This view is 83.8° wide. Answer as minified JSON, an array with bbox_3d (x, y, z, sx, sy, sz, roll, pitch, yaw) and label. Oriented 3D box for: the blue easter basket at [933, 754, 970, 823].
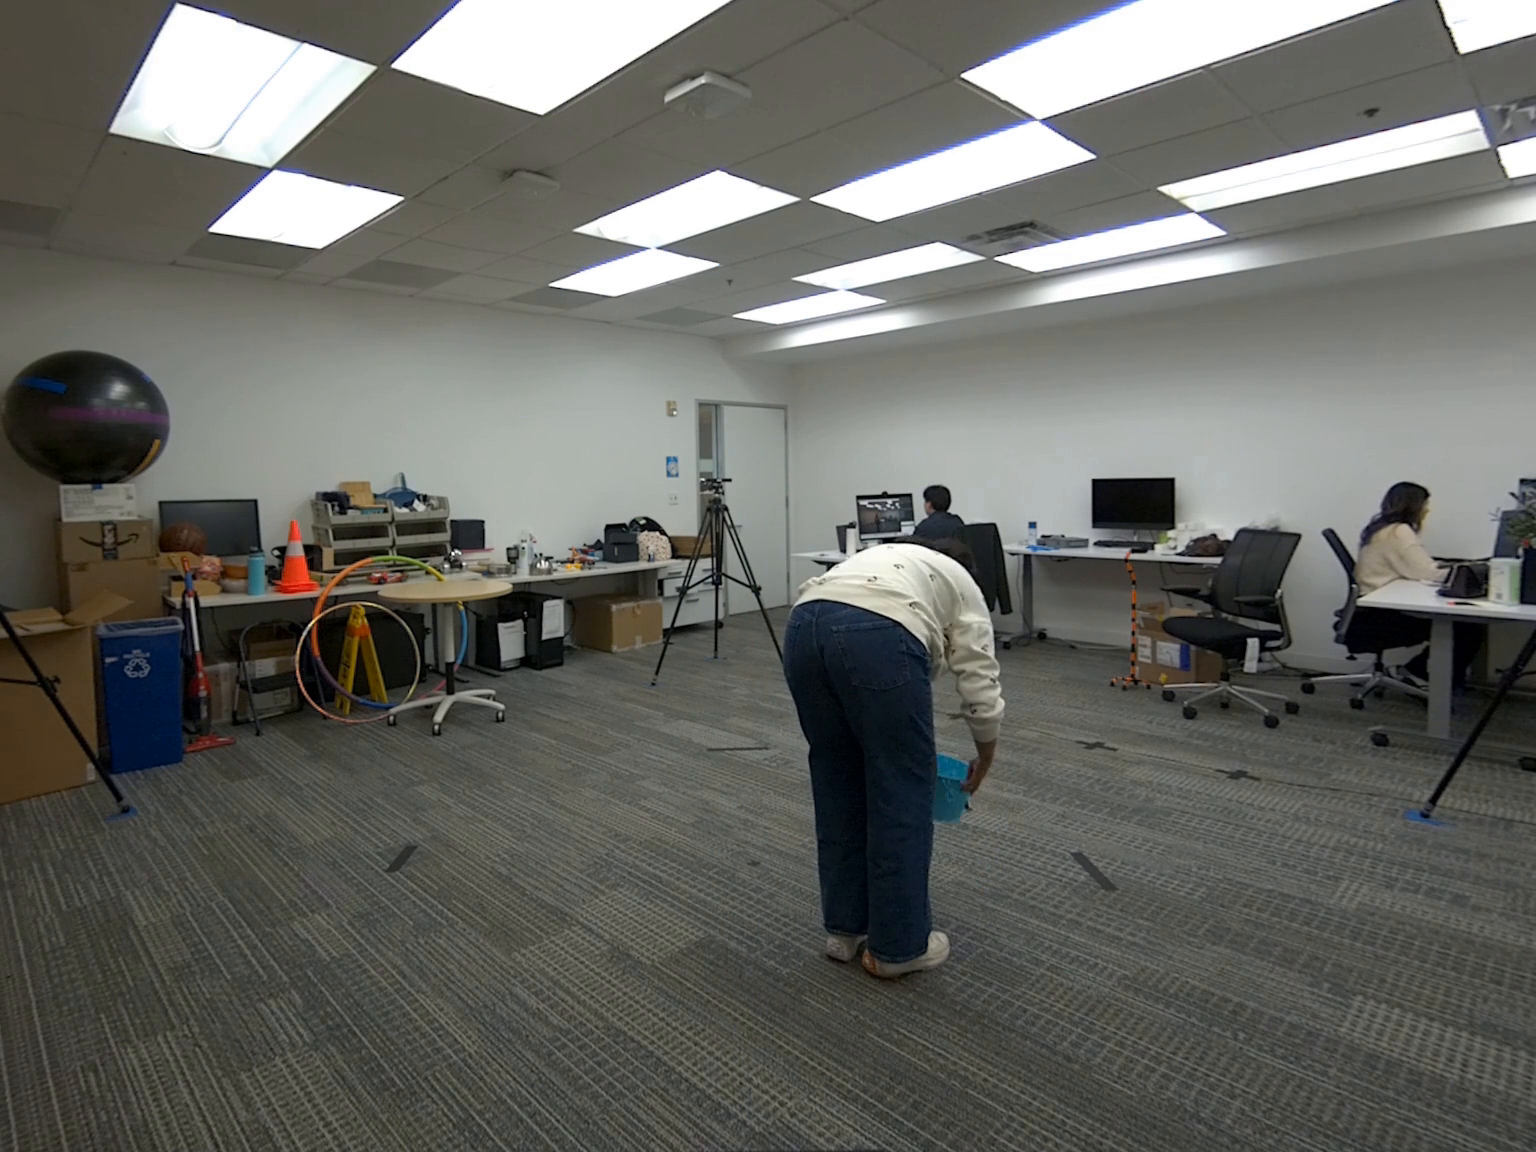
[{"bbox_3d":[0.586,0.693,2.790,0.243,0.155,0.245,7,8,-3],"label":"blue easter basket"}]
